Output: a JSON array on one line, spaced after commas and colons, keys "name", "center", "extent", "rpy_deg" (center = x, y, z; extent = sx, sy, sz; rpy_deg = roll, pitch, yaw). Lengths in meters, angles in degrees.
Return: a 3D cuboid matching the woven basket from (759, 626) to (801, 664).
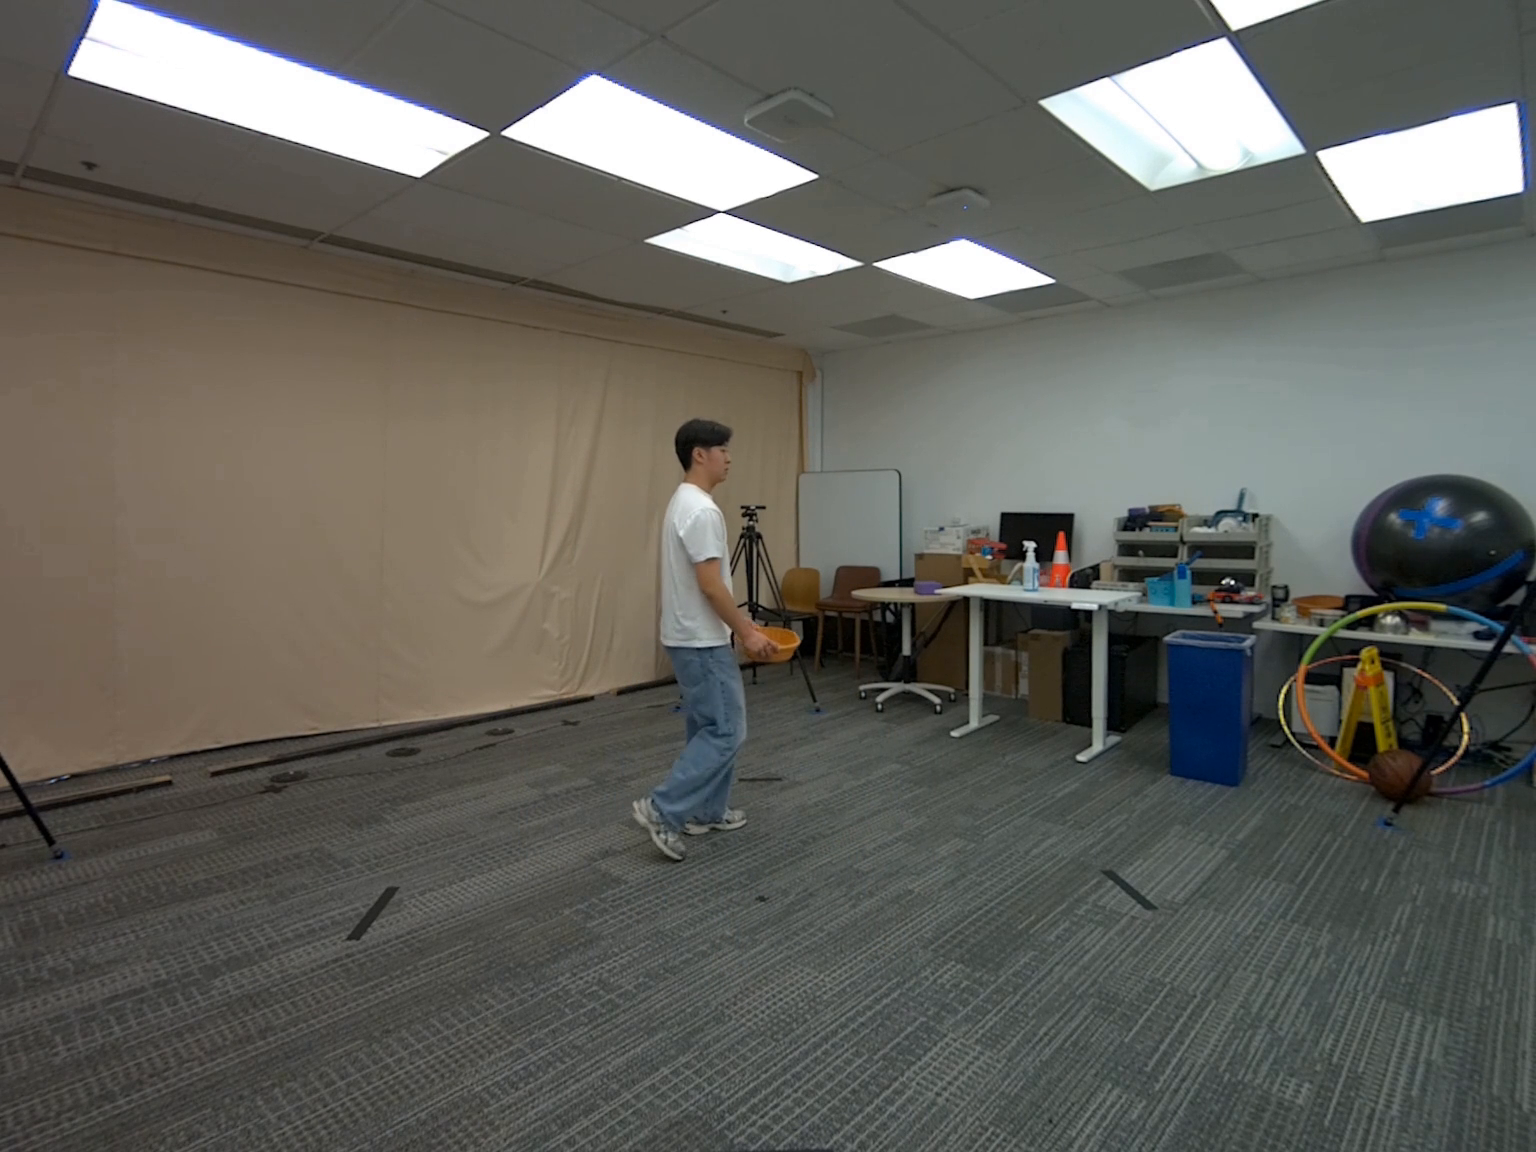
[{"name": "woven basket", "center": [-0.015, 0.292, 3.451], "extent": [0.251, 0.073, 0.354], "rpy_deg": [0, 9, -7]}]
